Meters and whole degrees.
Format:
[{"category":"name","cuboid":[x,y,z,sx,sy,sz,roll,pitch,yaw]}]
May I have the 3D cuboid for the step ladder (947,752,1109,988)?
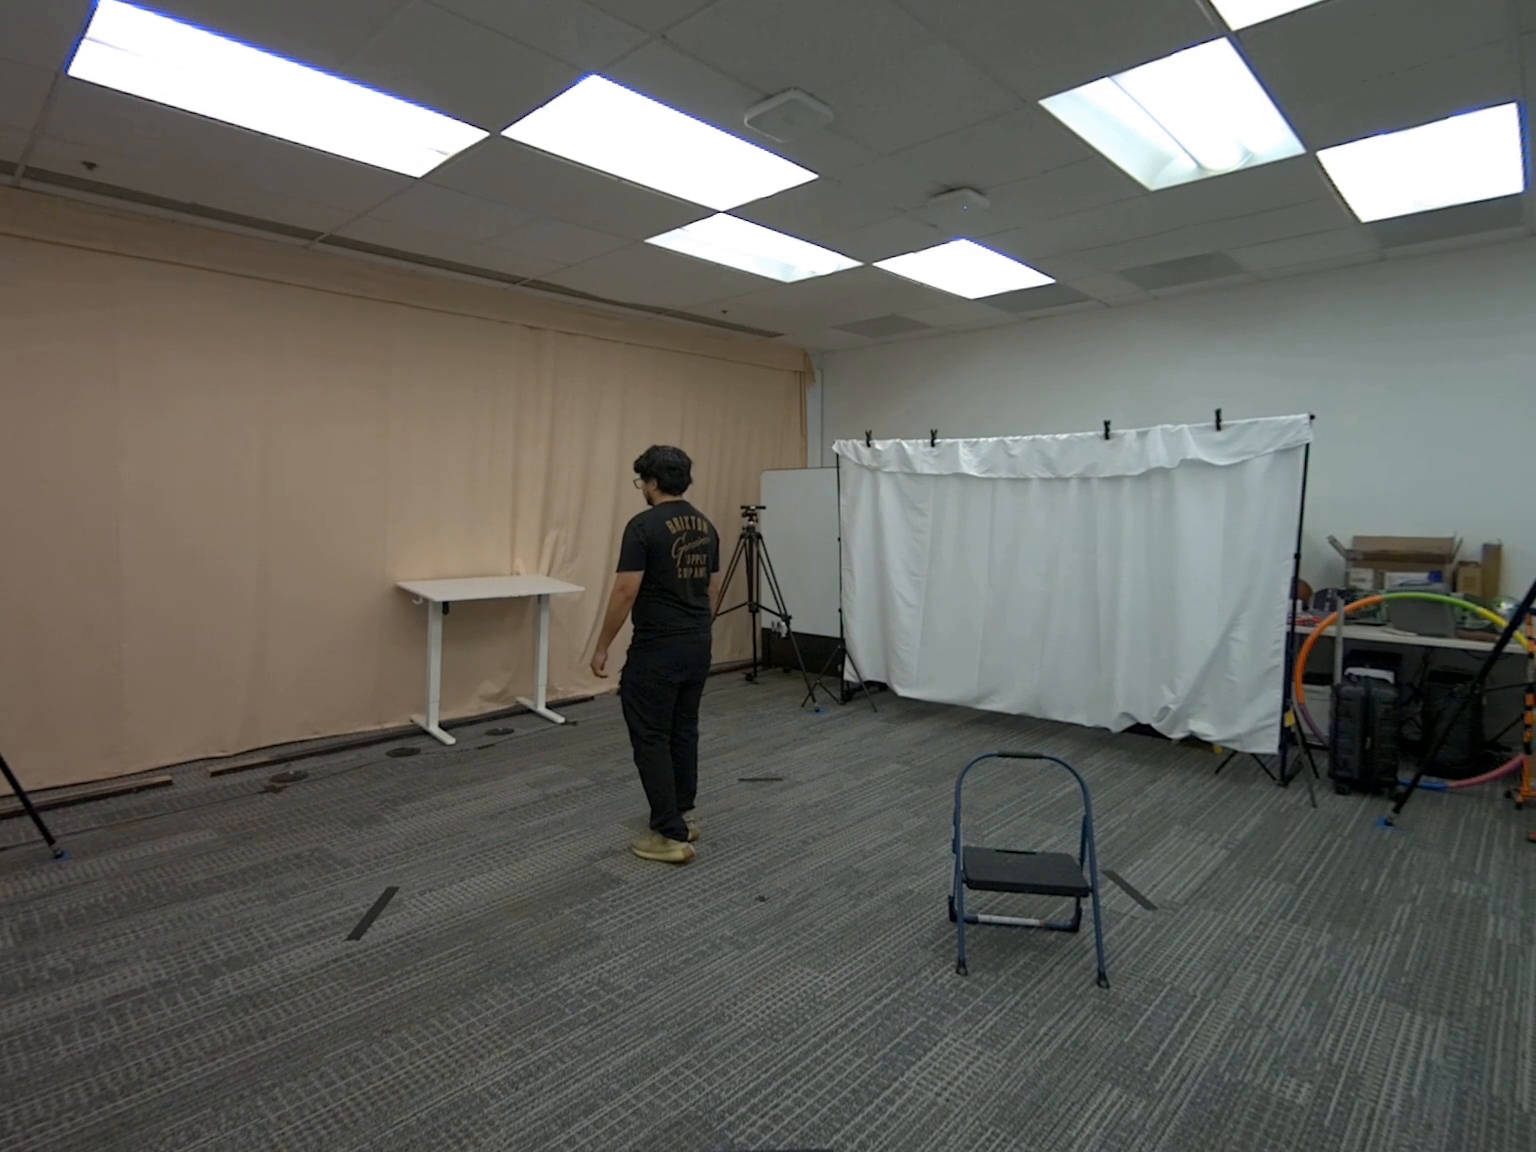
[{"category":"step ladder","cuboid":[0.803,0.871,2.615,0.435,0.605,0.346,1,3,8]}]
